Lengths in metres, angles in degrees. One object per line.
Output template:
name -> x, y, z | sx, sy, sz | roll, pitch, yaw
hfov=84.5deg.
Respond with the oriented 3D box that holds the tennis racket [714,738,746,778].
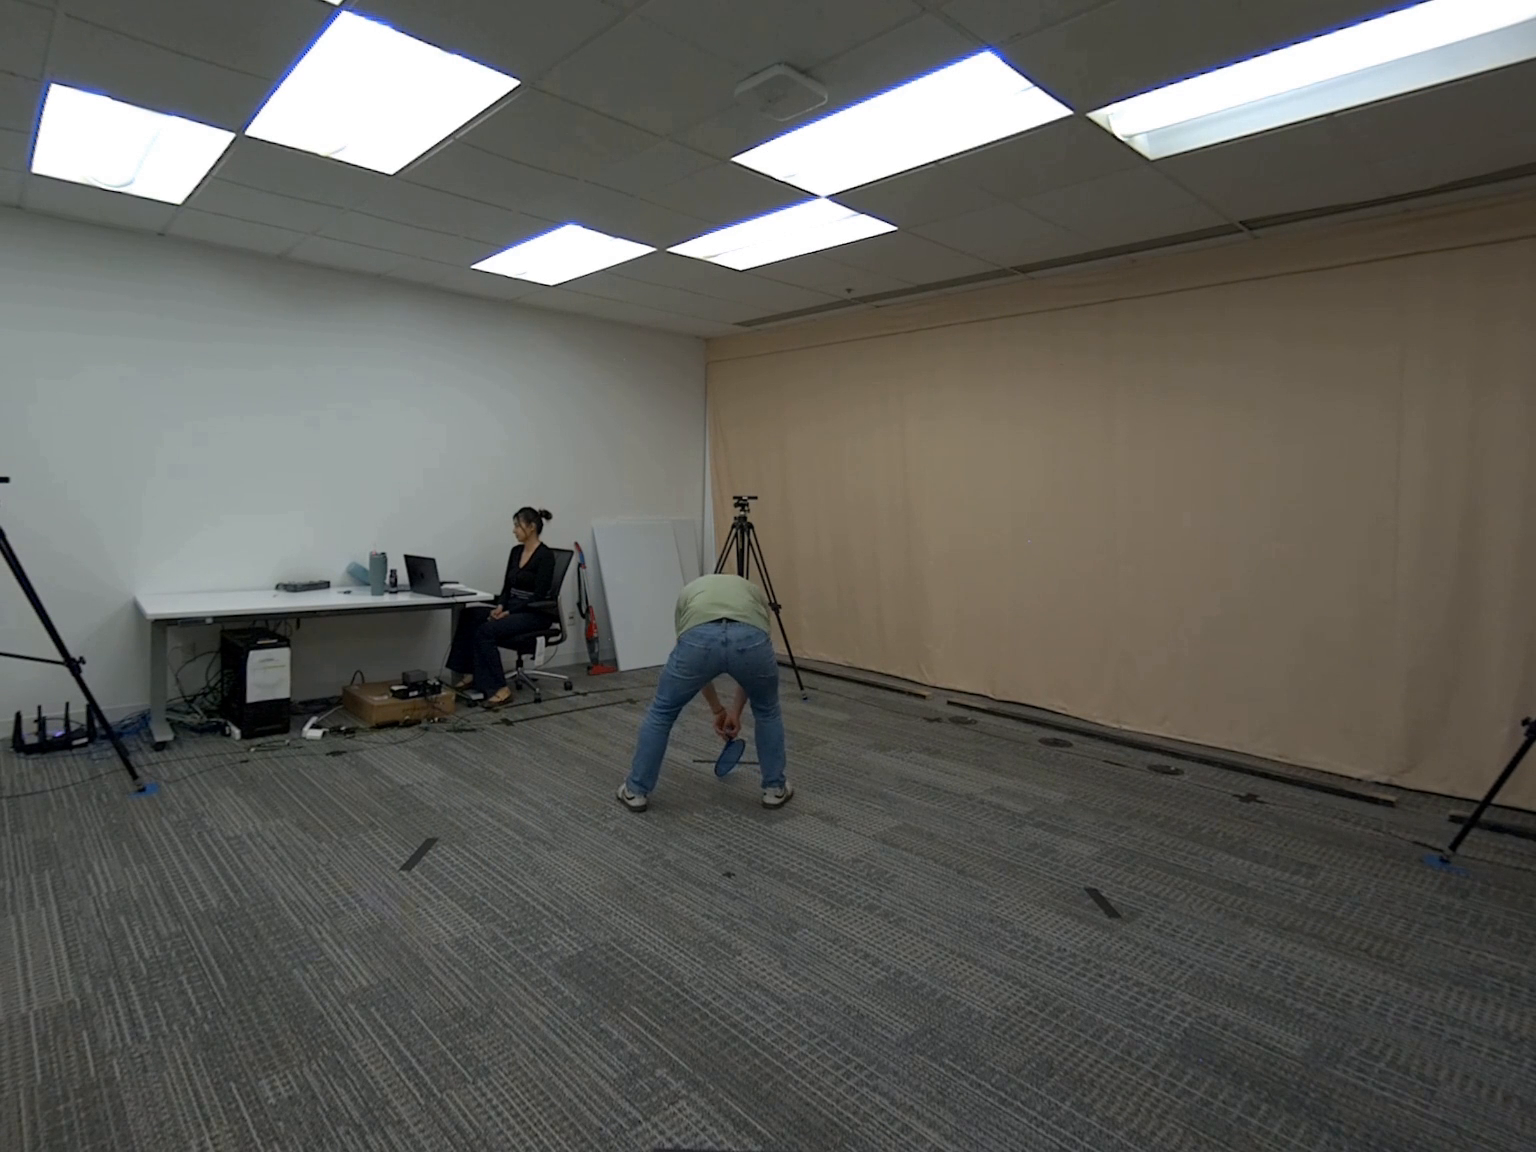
tennis racket -> -0.205, 0.852, 4.096 | 0.032, 0.423, 0.213 | 36, 61, 26
